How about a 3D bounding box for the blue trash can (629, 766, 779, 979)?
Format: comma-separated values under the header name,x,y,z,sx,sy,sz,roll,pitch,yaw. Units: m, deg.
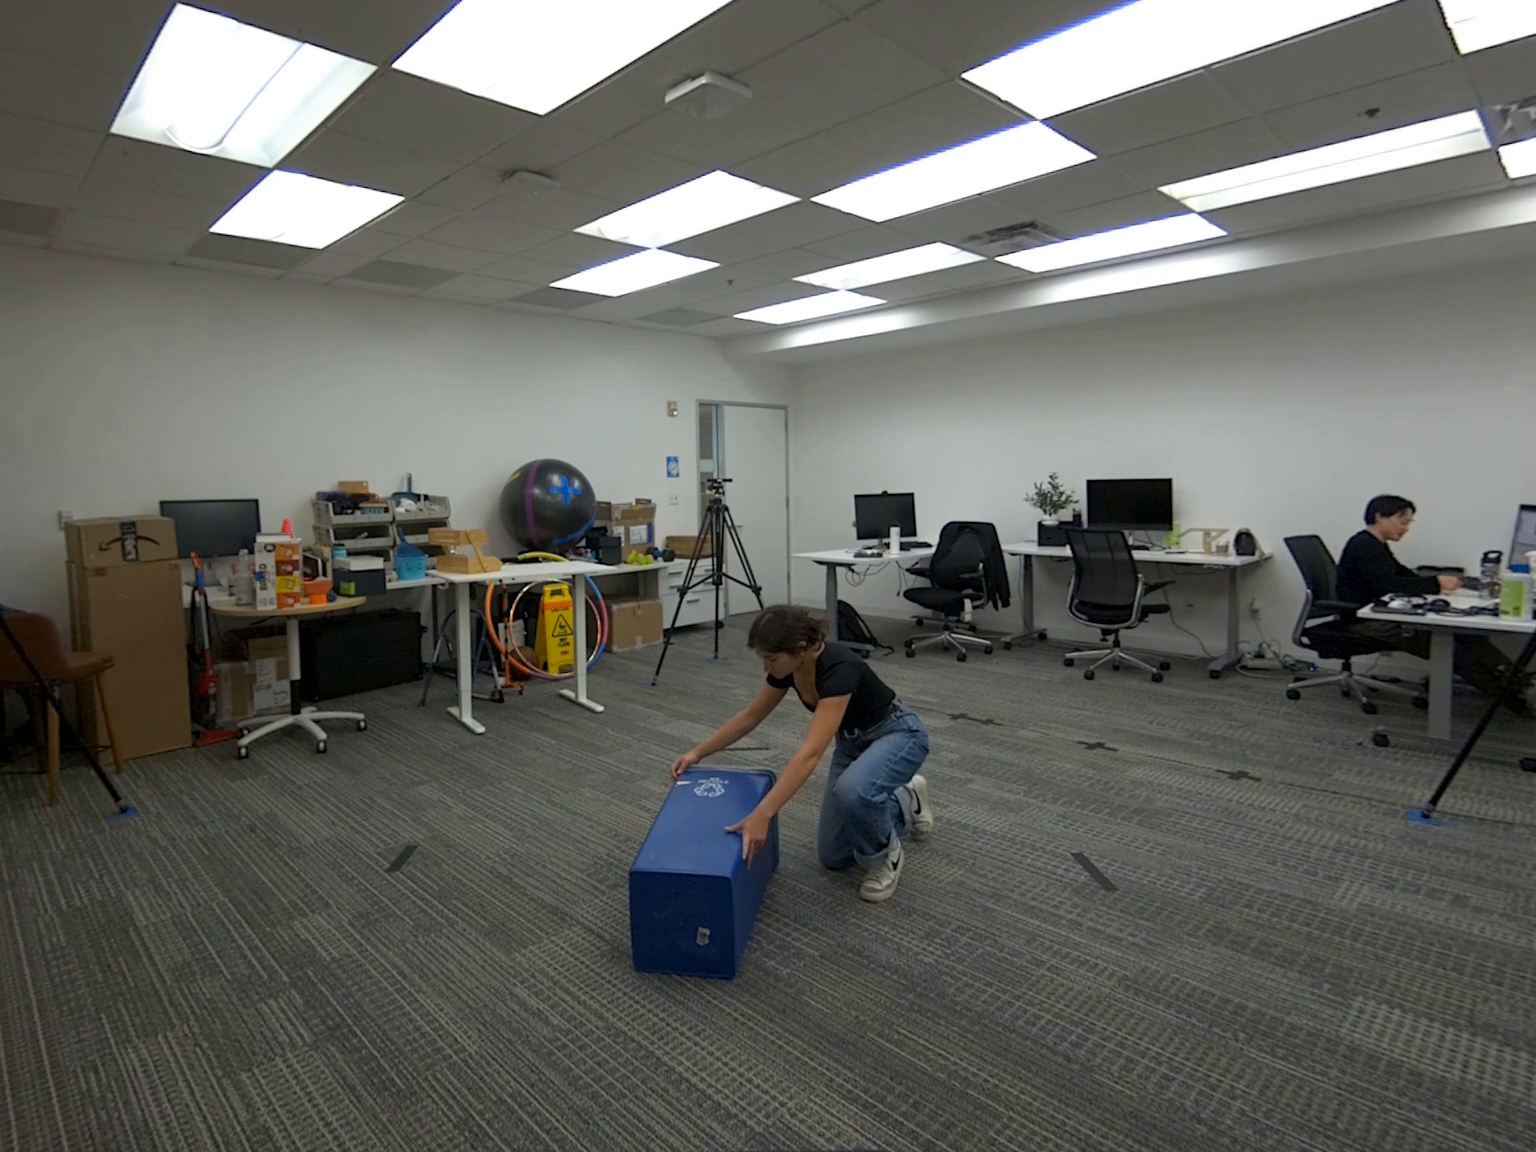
name,x,y,z,sx,sy,sz,roll,pitch,yaw
blue trash can,-0.182,0.924,2.739,0.377,0.375,0.712,0,9,8
